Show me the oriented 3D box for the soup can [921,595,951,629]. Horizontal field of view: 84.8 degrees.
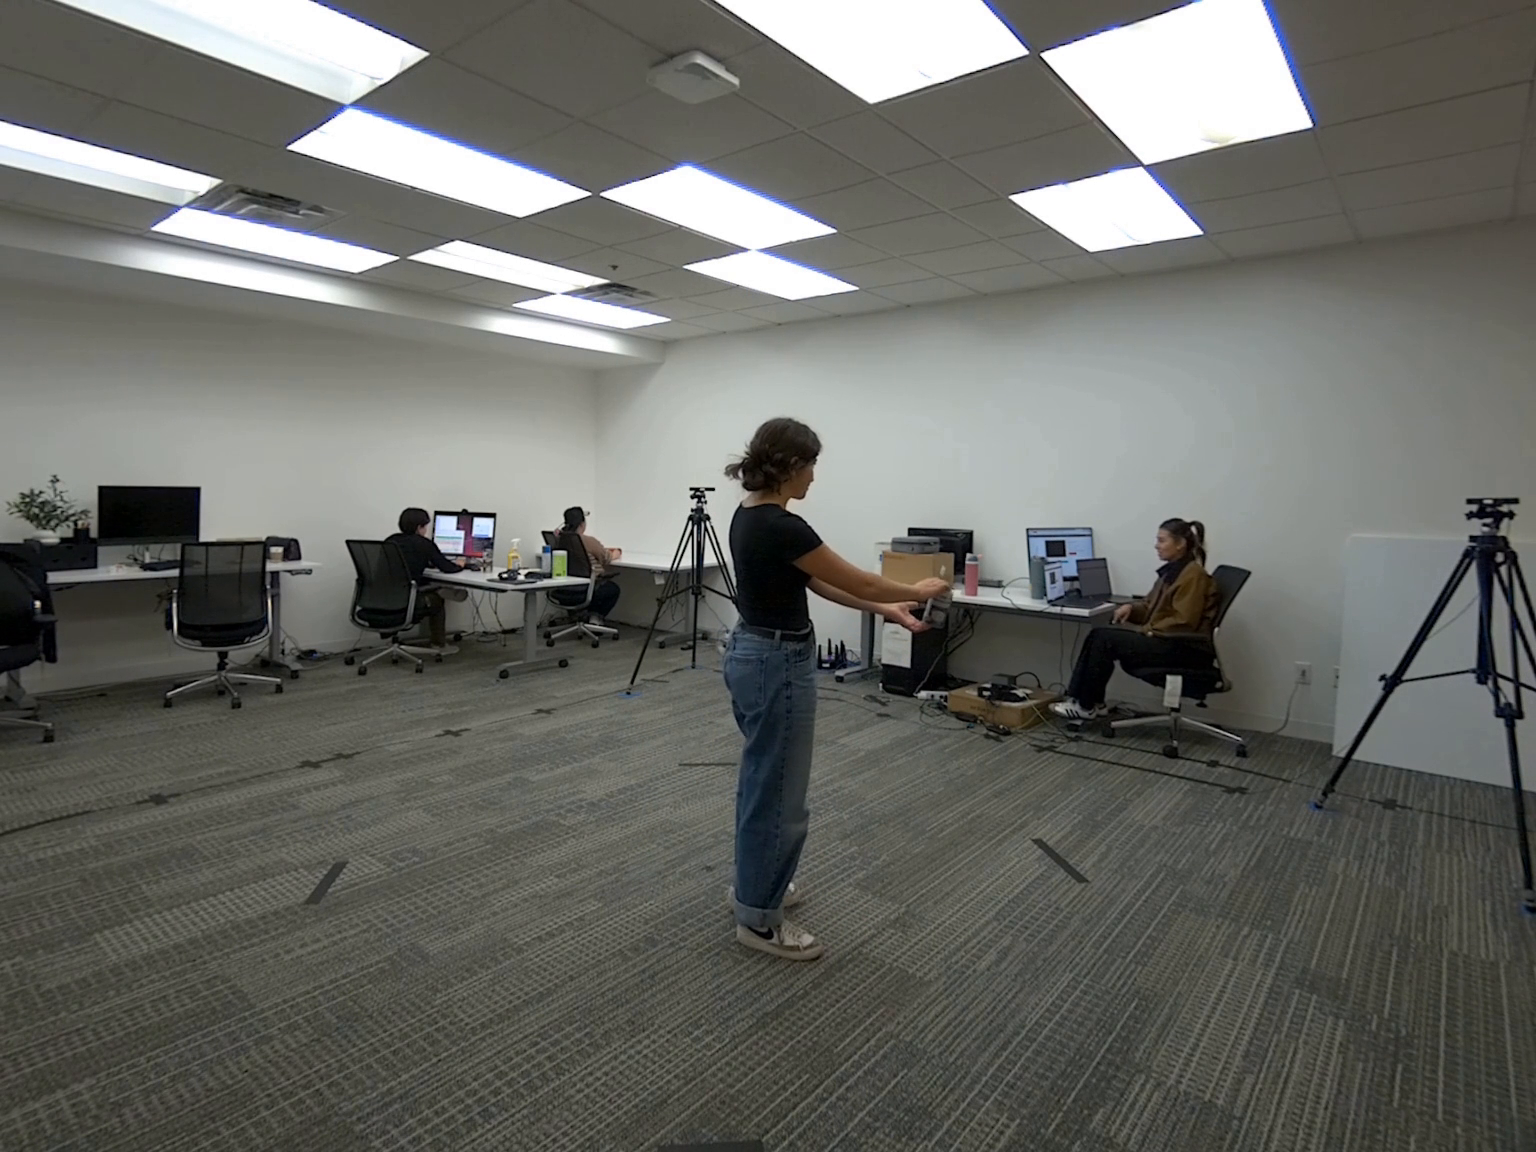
[{"bbox_3d":[0.510,0.156,2.659,0.067,0.121,0.067,8,3,-2],"label":"soup can"}]
